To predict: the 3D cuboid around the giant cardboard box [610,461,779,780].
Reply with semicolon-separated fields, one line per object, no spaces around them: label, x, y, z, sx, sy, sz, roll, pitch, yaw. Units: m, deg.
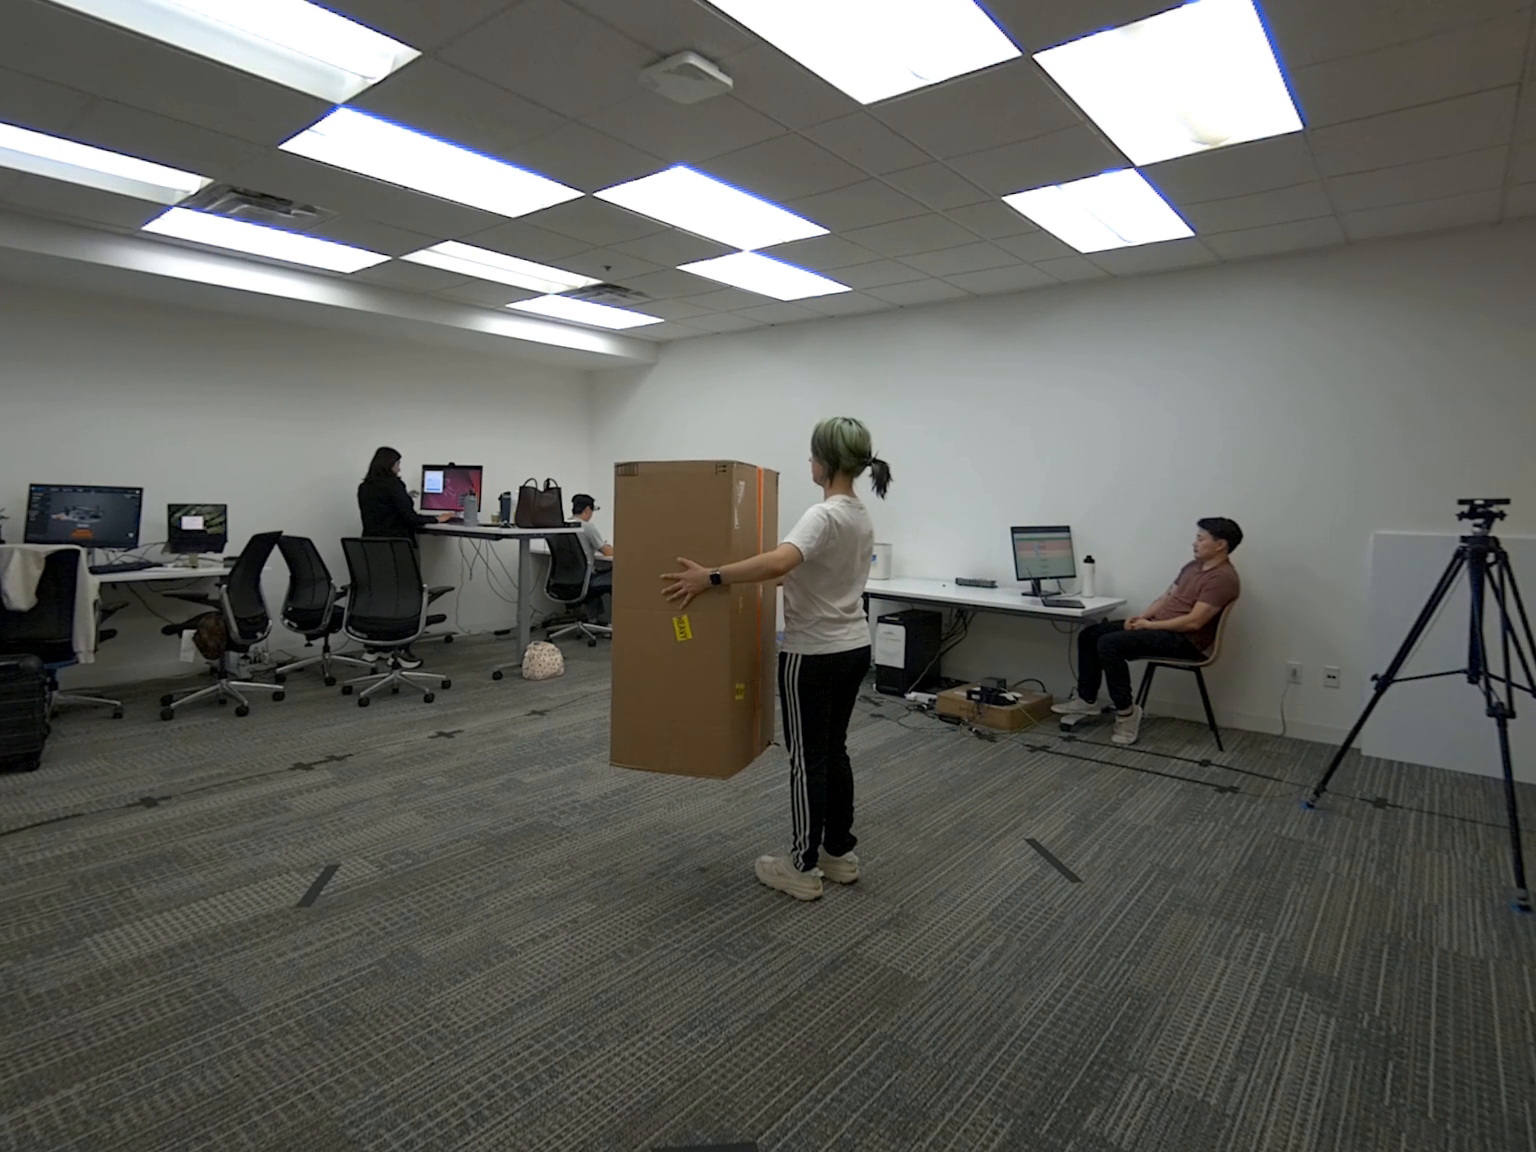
giant cardboard box;-0.252;0.120;3.045;0.435;1.026;0.566;1;1;18
